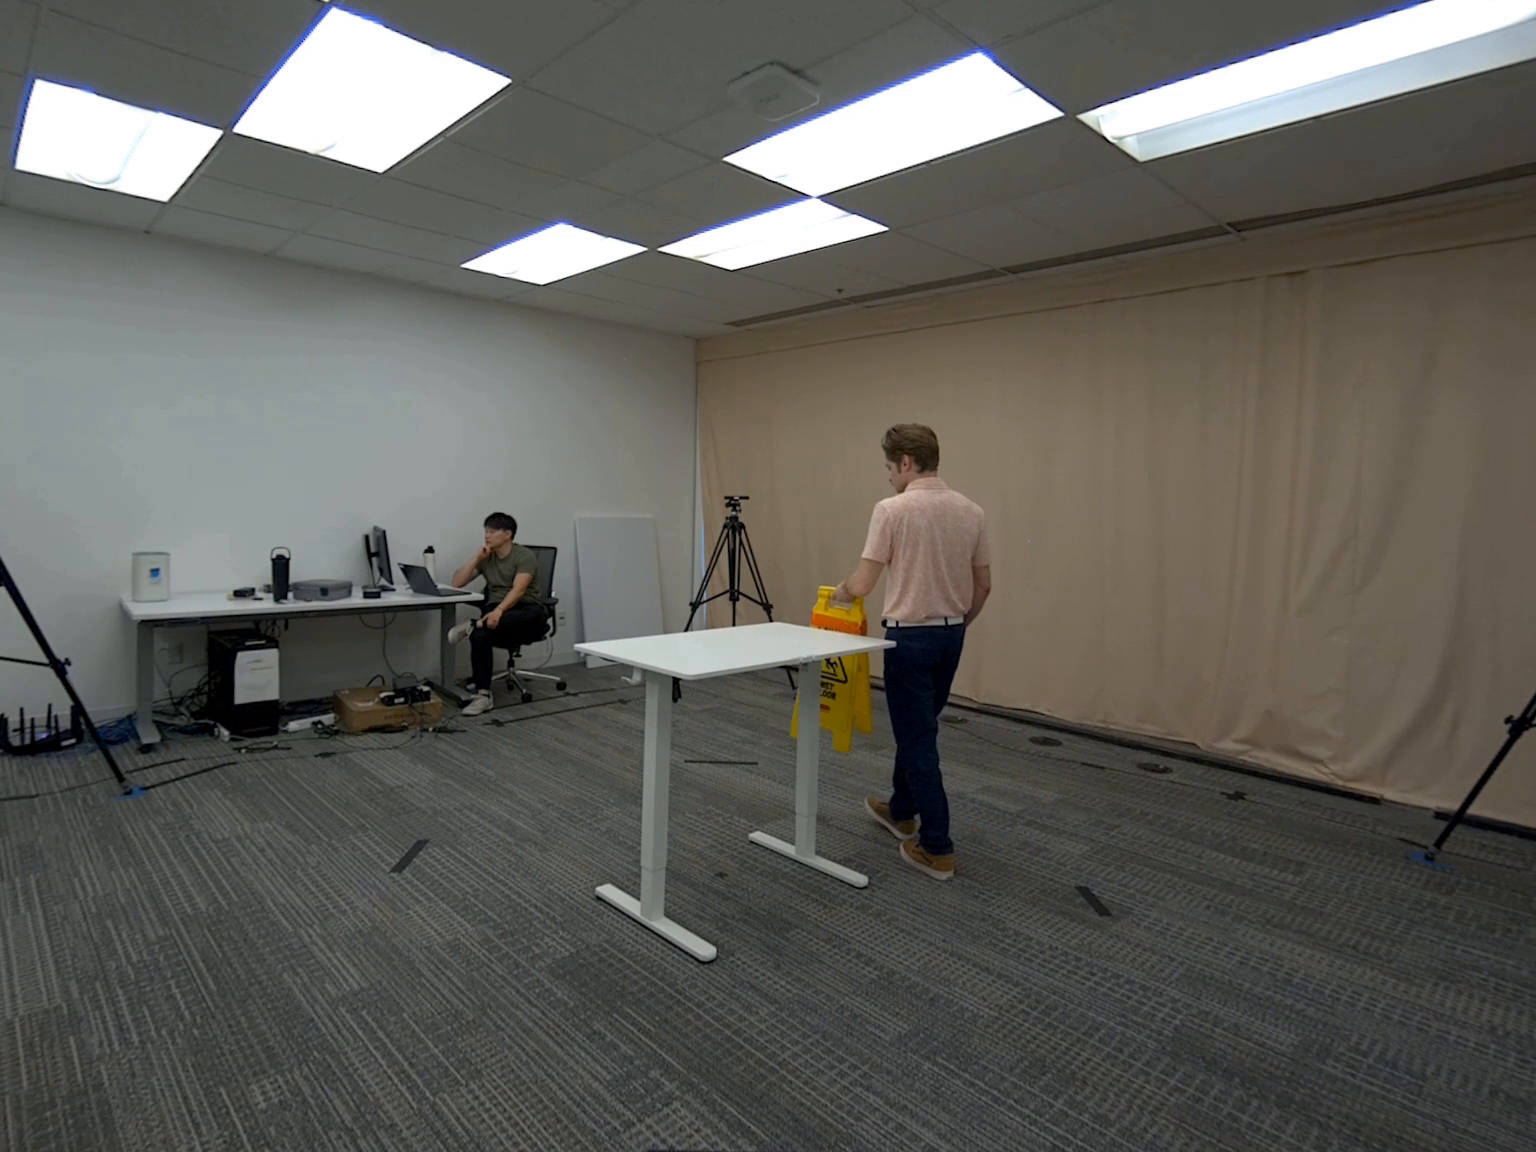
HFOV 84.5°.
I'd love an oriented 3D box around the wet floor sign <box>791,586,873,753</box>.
[{"bbox_3d":[0.279,0.374,3.570,0.289,0.641,0.285,10,12,29],"label":"wet floor sign"}]
